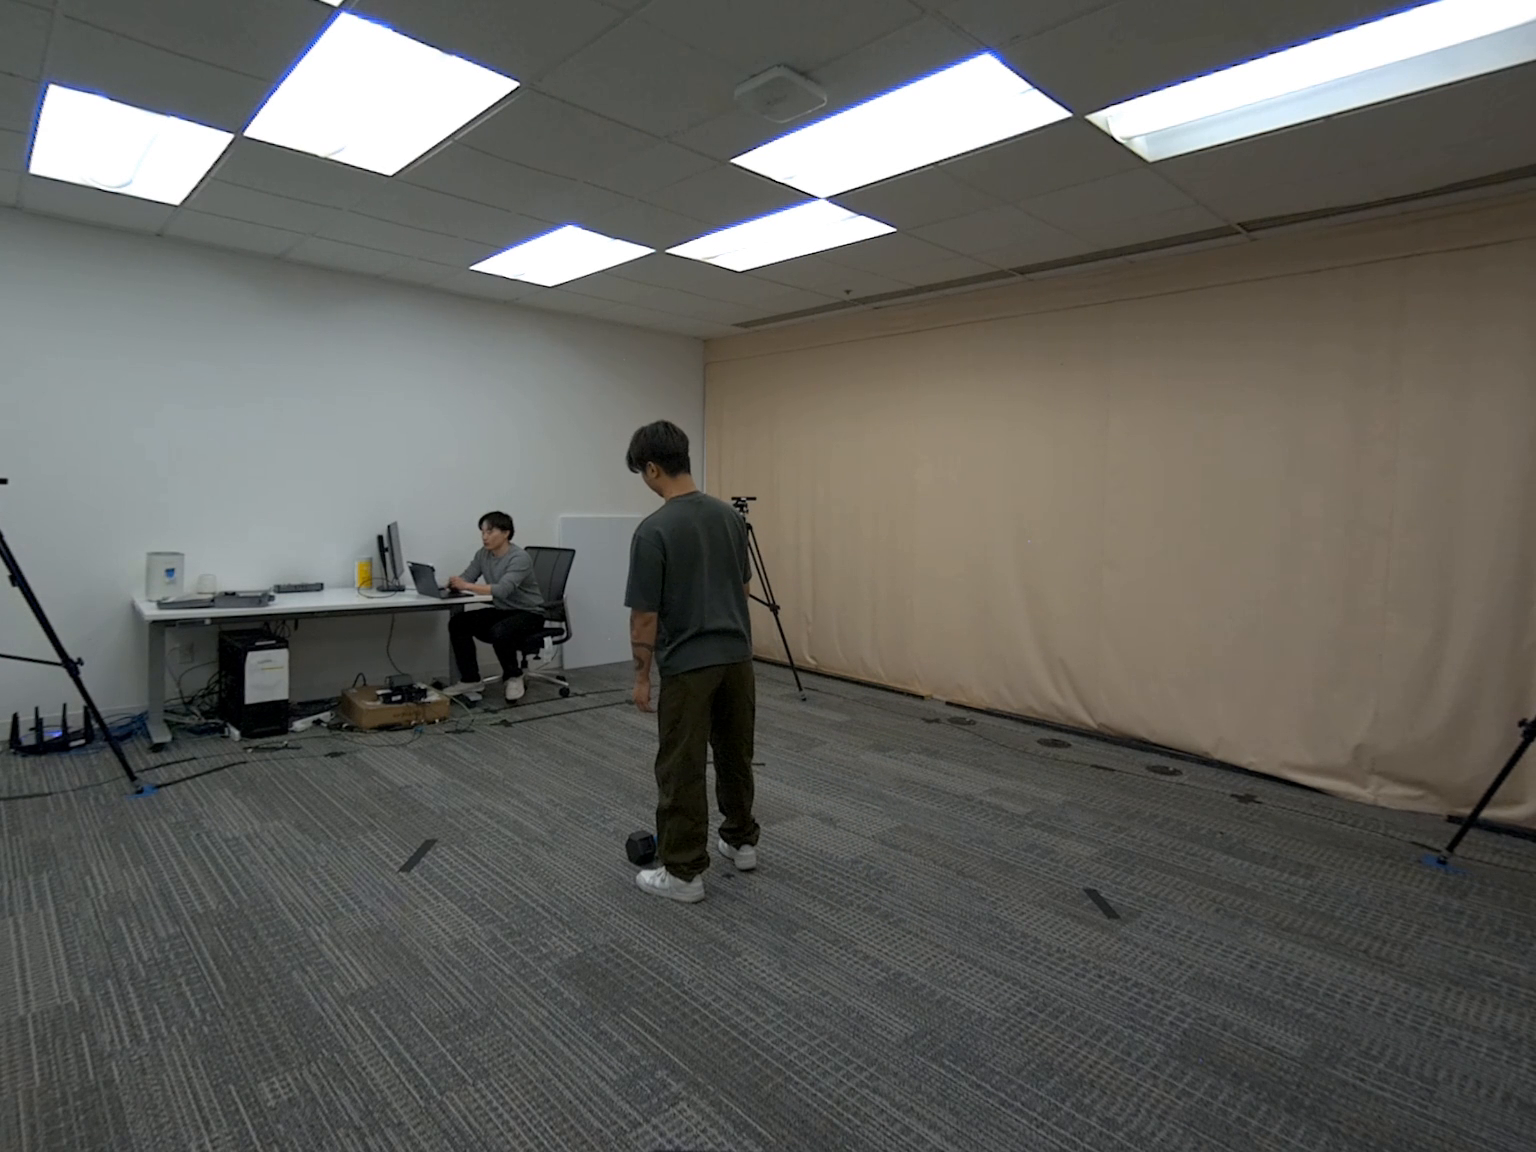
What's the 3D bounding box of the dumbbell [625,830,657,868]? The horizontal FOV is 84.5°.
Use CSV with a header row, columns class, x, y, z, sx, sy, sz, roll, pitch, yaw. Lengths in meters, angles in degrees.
class,x,y,z,sx,sy,sz,roll,pitch,yaw
dumbbell,-0.408,1.027,3.276,0.287,0.125,0.109,-3,-26,-40
